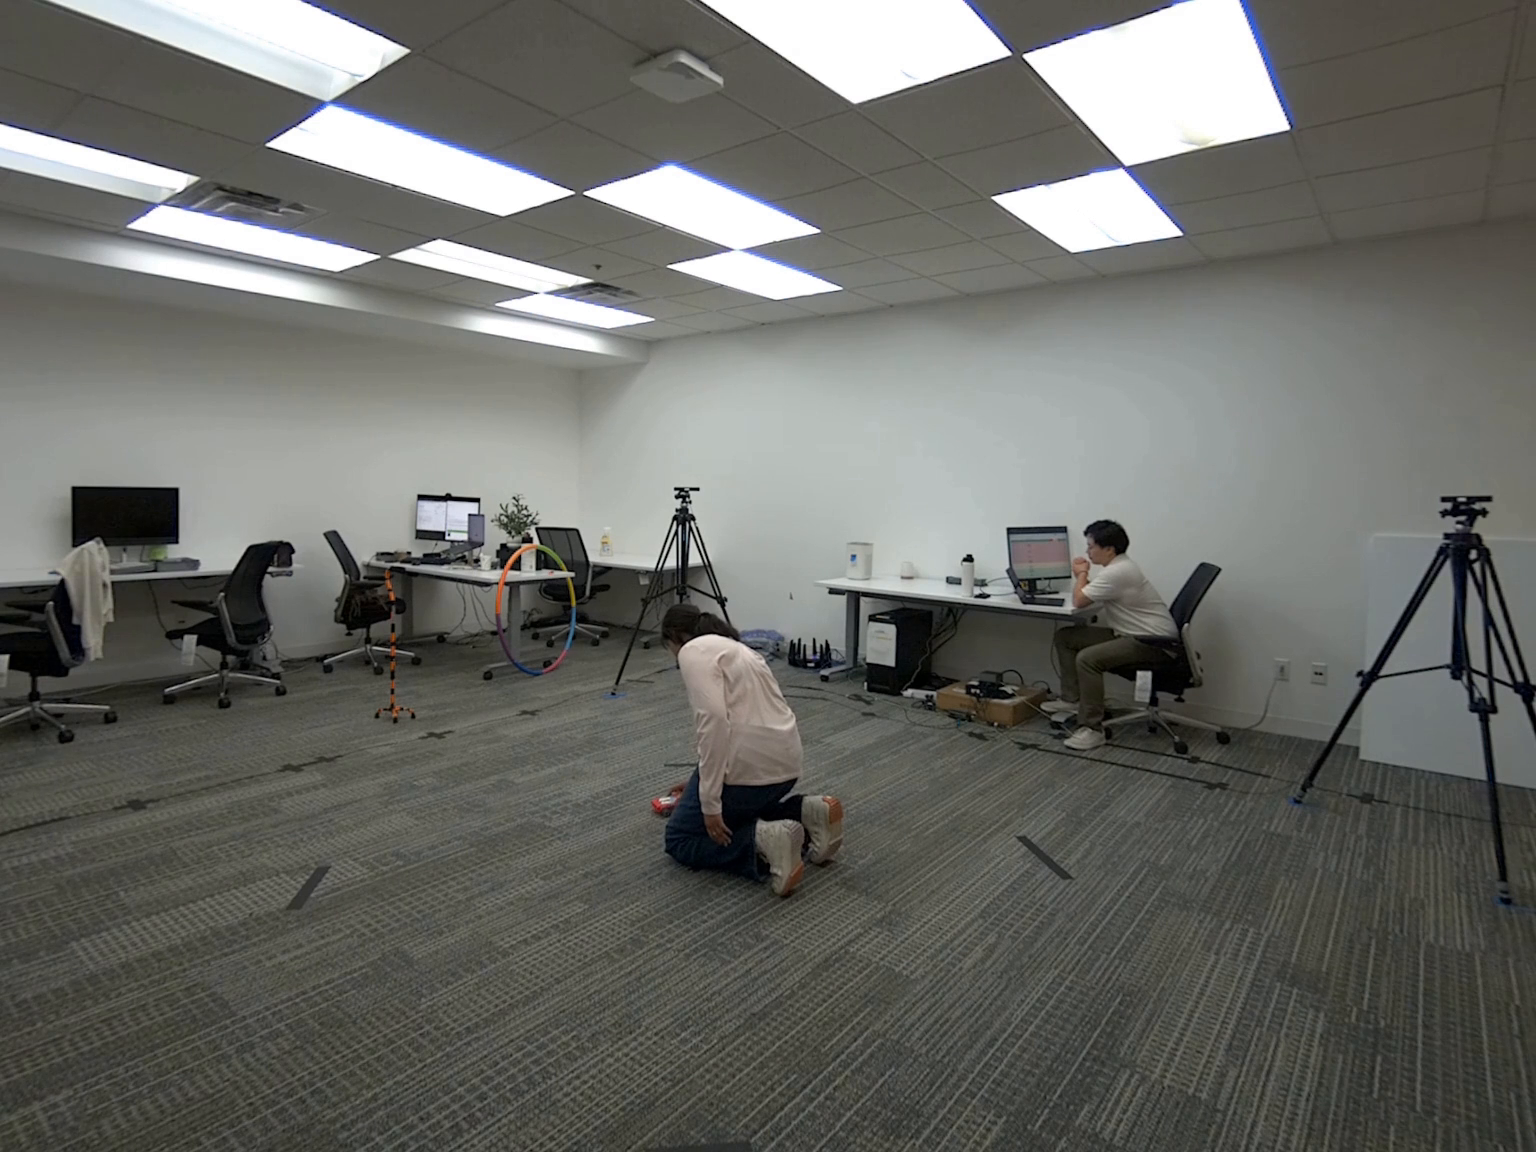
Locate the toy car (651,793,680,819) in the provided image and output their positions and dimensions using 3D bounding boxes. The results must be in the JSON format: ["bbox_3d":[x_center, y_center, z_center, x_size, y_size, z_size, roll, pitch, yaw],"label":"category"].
[{"bbox_3d":[-0.379,0.973,3.683,0.250,0.082,0.134,-14,11,-24],"label":"toy car"}]
